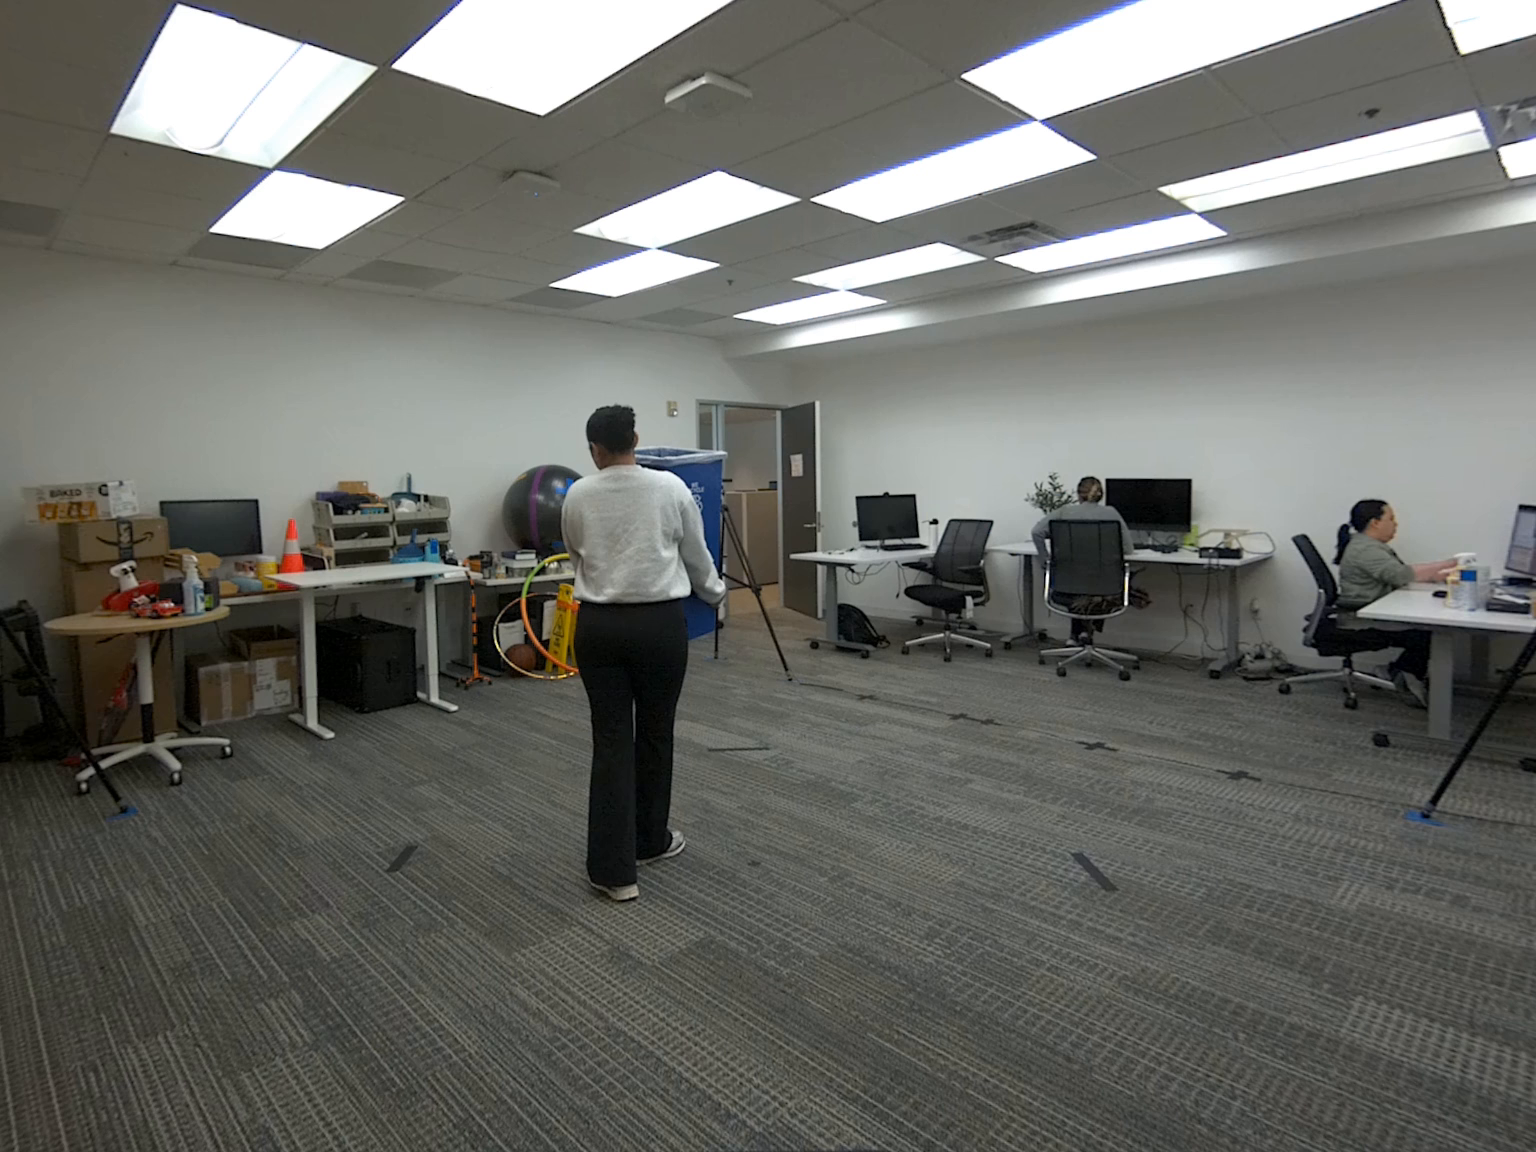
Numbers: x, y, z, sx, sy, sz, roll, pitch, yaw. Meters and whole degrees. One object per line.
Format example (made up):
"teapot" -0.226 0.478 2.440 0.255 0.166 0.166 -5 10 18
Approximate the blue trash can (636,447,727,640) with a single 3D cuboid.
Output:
"blue trash can" -0.396 -0.130 3.323 0.386 0.706 0.370 9 15 36
